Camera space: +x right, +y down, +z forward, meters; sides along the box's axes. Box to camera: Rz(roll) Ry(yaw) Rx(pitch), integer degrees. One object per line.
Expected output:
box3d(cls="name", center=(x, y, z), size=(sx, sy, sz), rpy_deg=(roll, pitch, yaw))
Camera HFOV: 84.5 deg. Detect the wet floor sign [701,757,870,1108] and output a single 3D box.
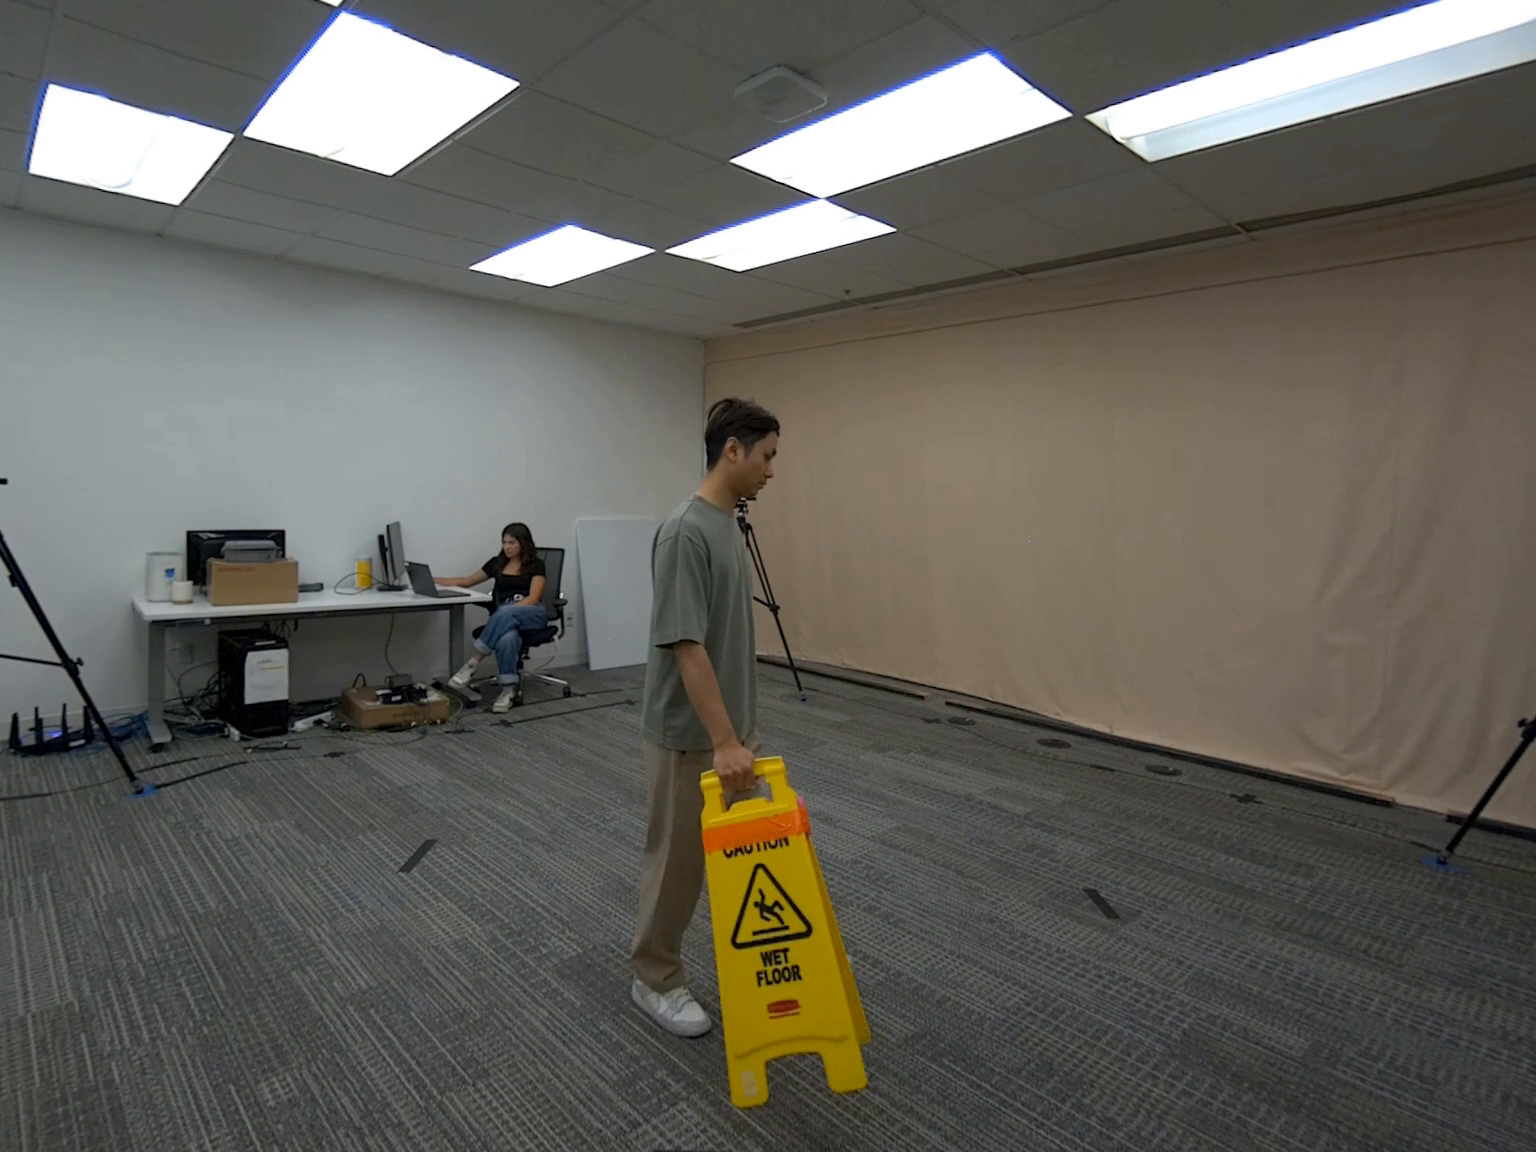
box3d(cls="wet floor sign", center=(-0.010, 0.759, 1.863), size=(0.284, 0.653, 0.285), rpy_deg=(-13, -13, 8))
